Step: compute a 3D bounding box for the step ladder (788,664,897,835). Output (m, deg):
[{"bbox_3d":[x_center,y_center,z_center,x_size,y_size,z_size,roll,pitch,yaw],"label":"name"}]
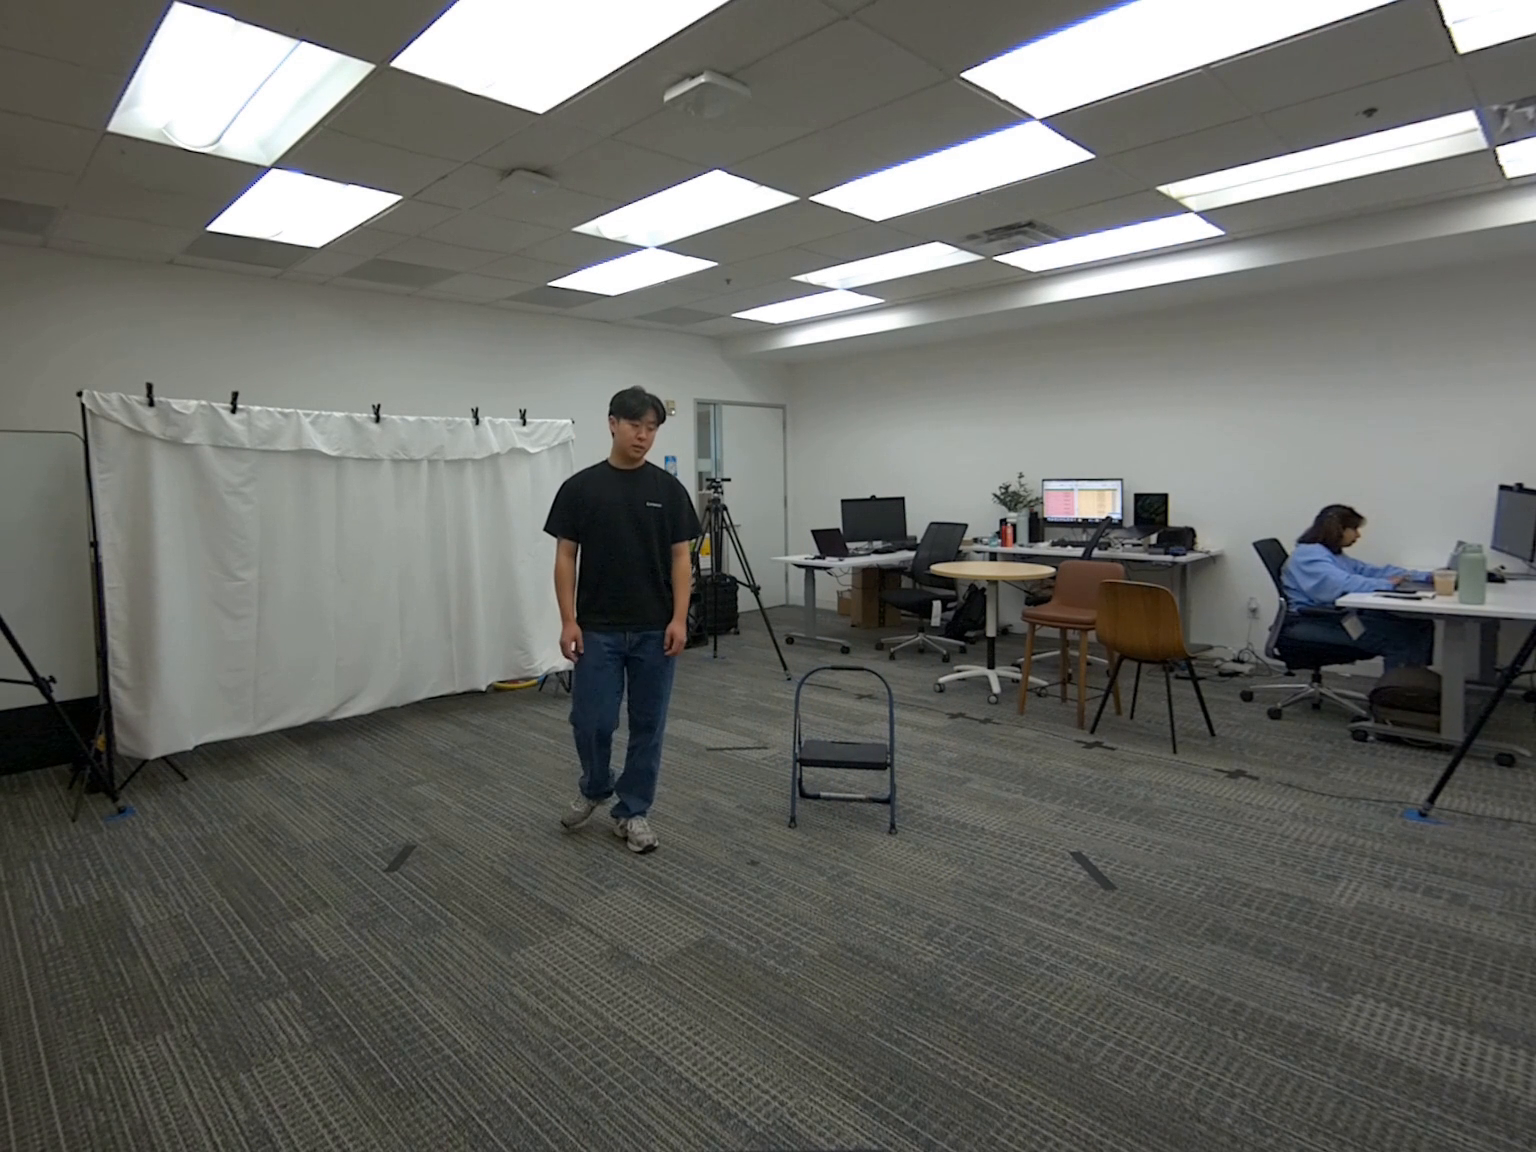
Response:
[{"bbox_3d":[0.318,0.689,3.528,0.435,0.604,0.347,1,4,9],"label":"step ladder"}]
